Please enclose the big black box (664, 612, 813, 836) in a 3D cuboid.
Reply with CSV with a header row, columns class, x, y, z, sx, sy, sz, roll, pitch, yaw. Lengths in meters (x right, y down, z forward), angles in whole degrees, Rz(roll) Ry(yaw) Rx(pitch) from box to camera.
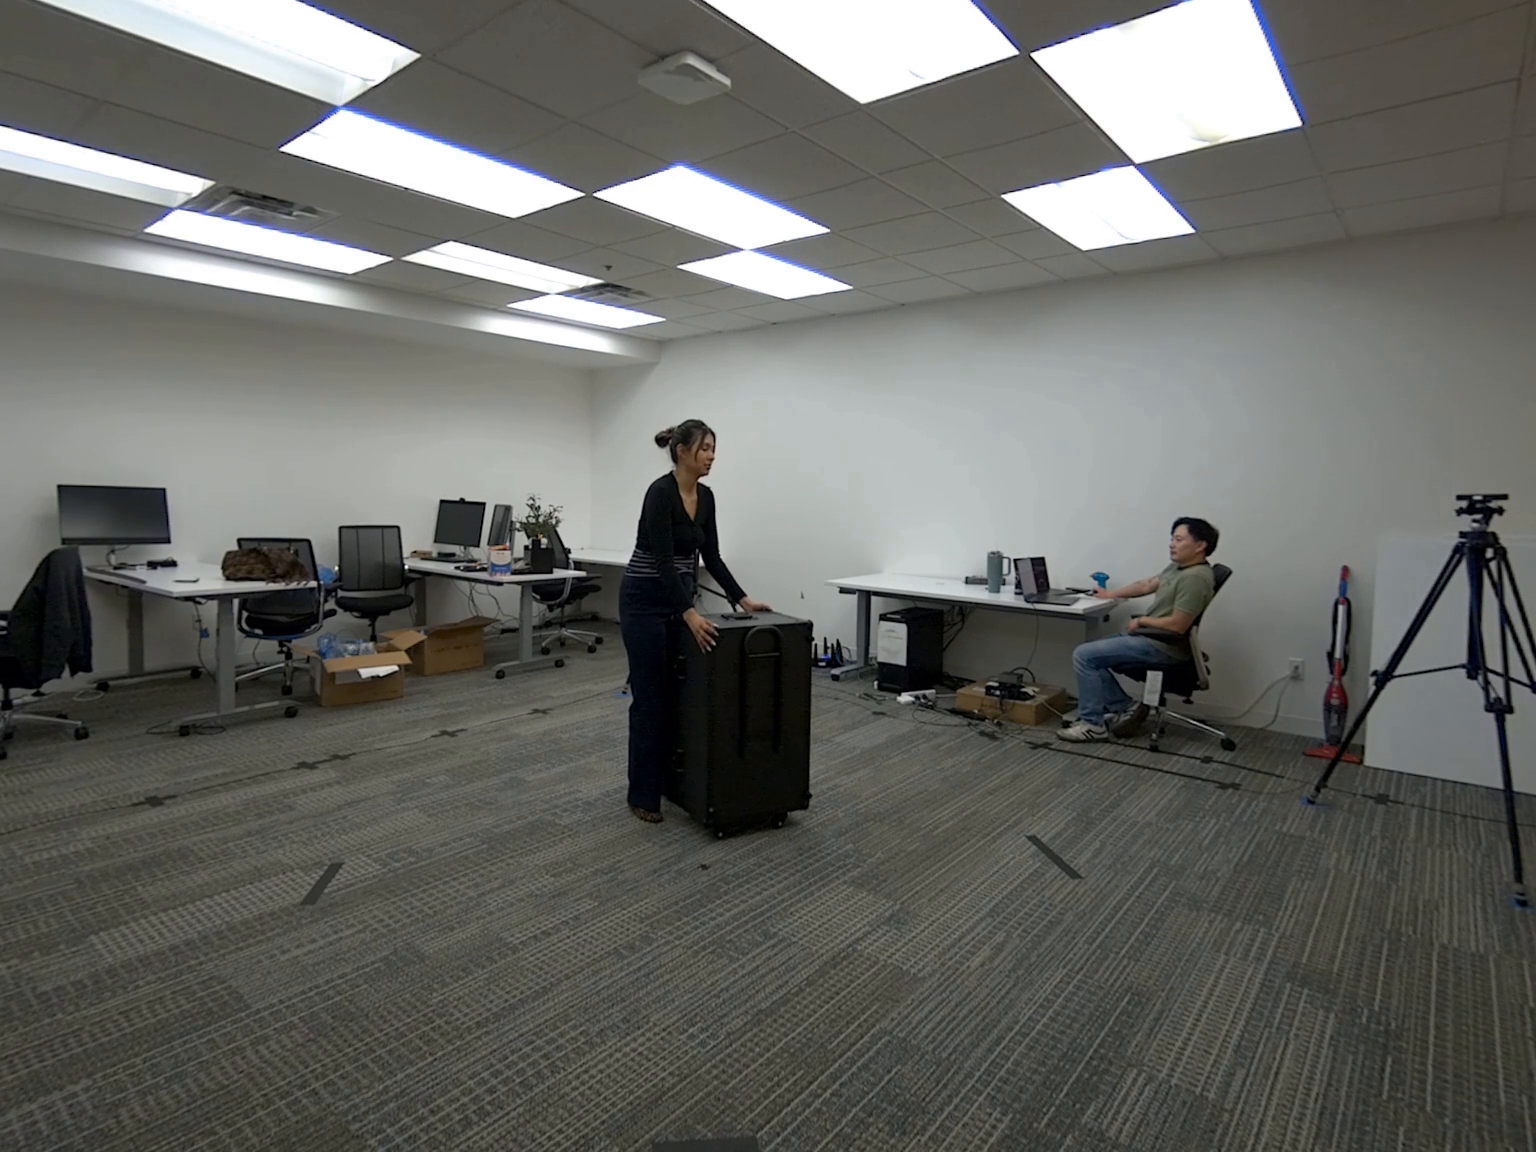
class,x,y,z,sx,sy,sz,roll,pitch,yaw
big black box,-0.114,0.598,3.532,0.507,0.859,0.408,-1,4,-30
